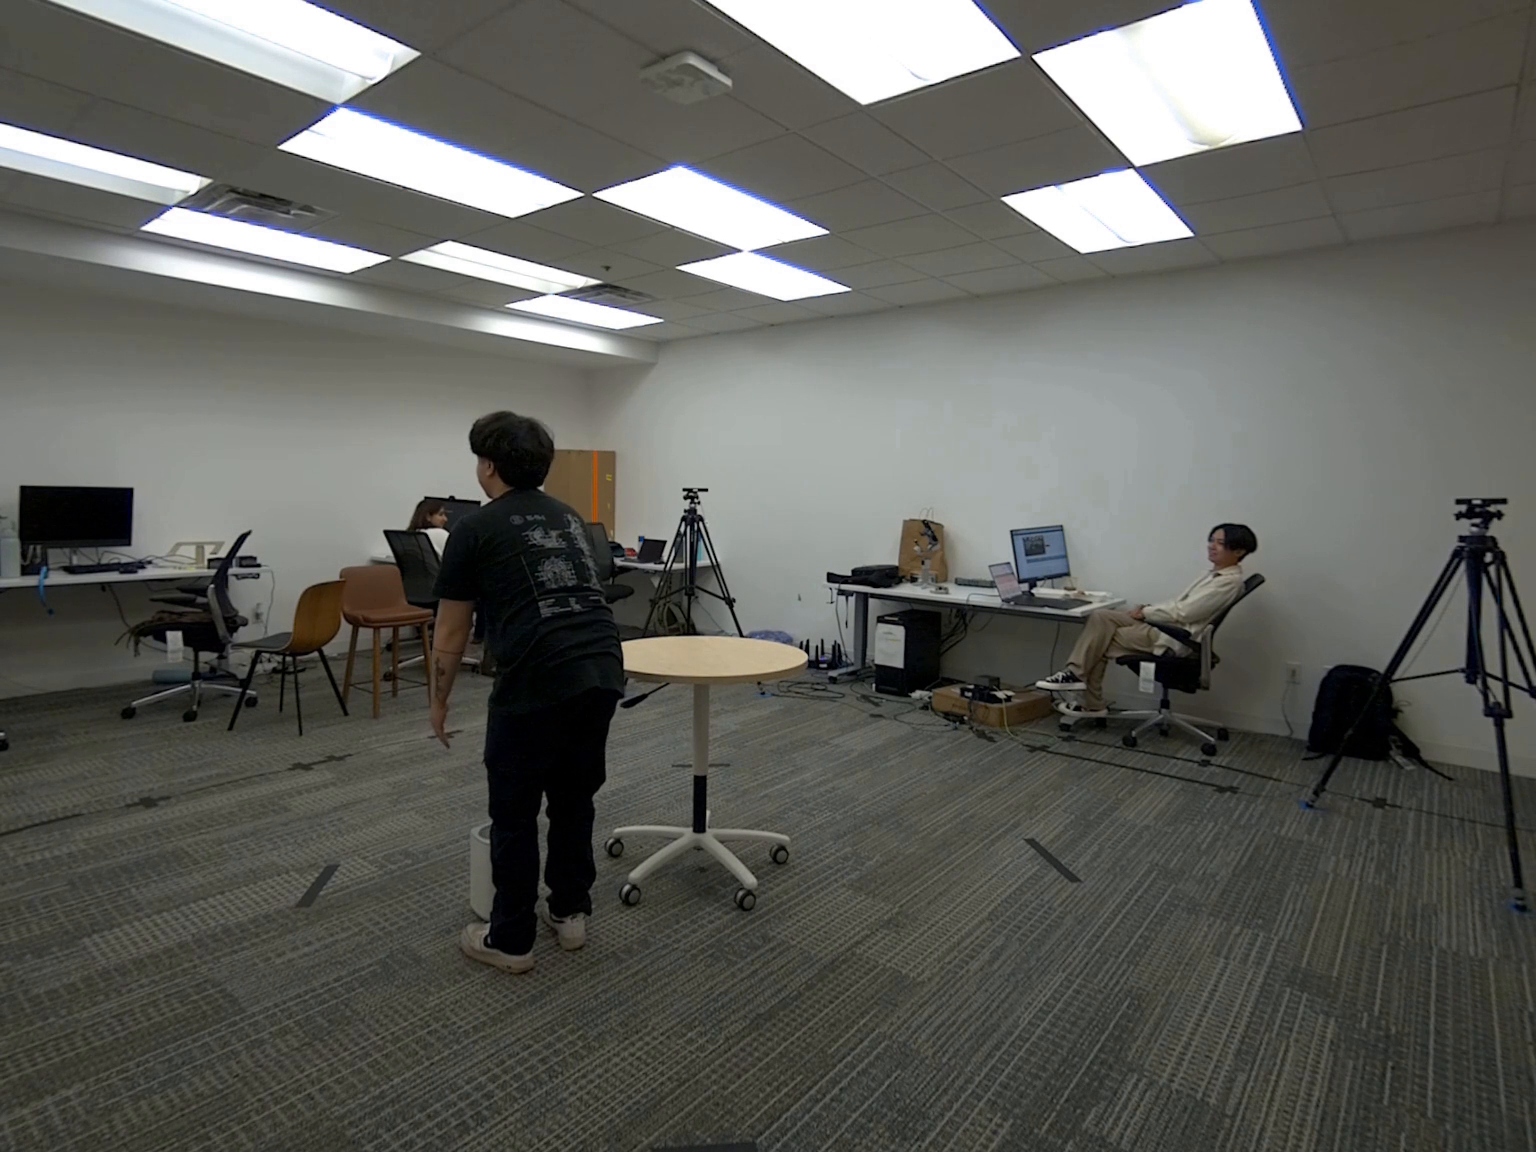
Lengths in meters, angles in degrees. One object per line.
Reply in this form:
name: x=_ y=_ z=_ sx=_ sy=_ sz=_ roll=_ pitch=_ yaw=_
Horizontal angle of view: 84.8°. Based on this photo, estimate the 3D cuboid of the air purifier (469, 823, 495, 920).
air purifier: x=-0.886 y=0.960 z=2.777 sx=0.166 sy=0.265 sz=0.177 roll=-2 pitch=3 yaw=-42
